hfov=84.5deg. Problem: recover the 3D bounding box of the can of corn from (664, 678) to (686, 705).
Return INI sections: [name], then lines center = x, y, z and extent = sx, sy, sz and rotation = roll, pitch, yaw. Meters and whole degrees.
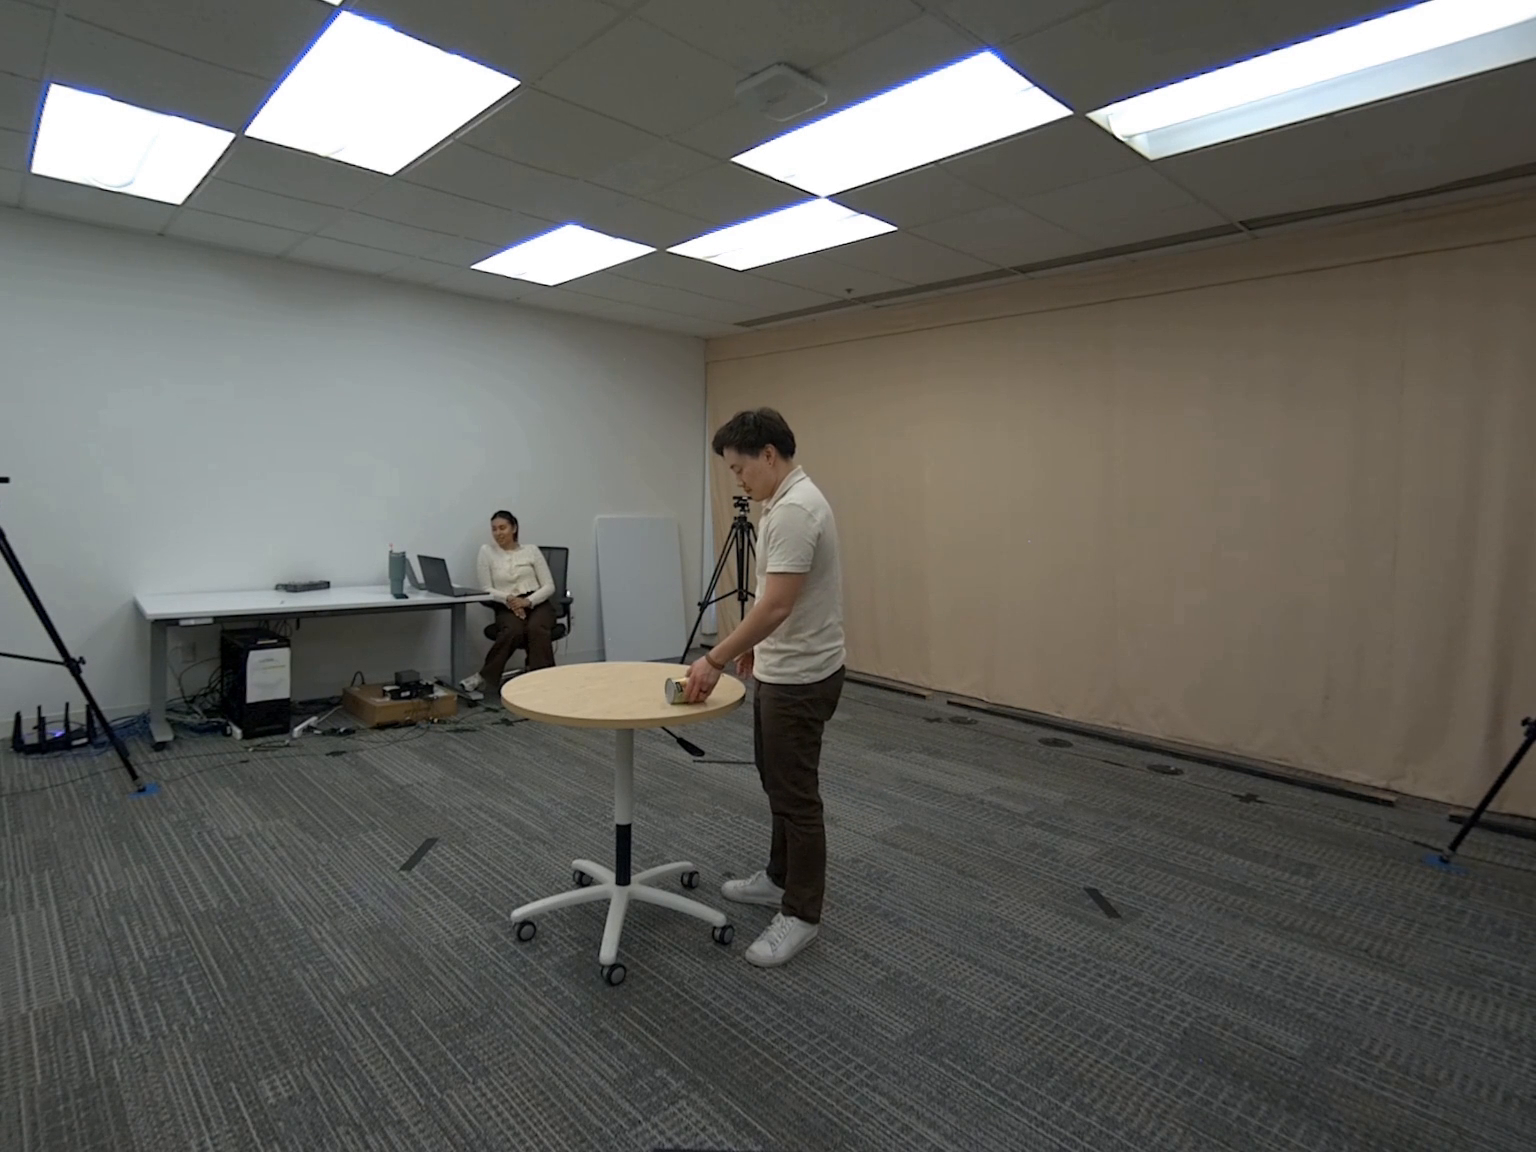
[can of corn]
center = -0.249, 0.335, 2.501
extent = 0.109, 0.074, 0.076
rotation = 0, 4, -25
